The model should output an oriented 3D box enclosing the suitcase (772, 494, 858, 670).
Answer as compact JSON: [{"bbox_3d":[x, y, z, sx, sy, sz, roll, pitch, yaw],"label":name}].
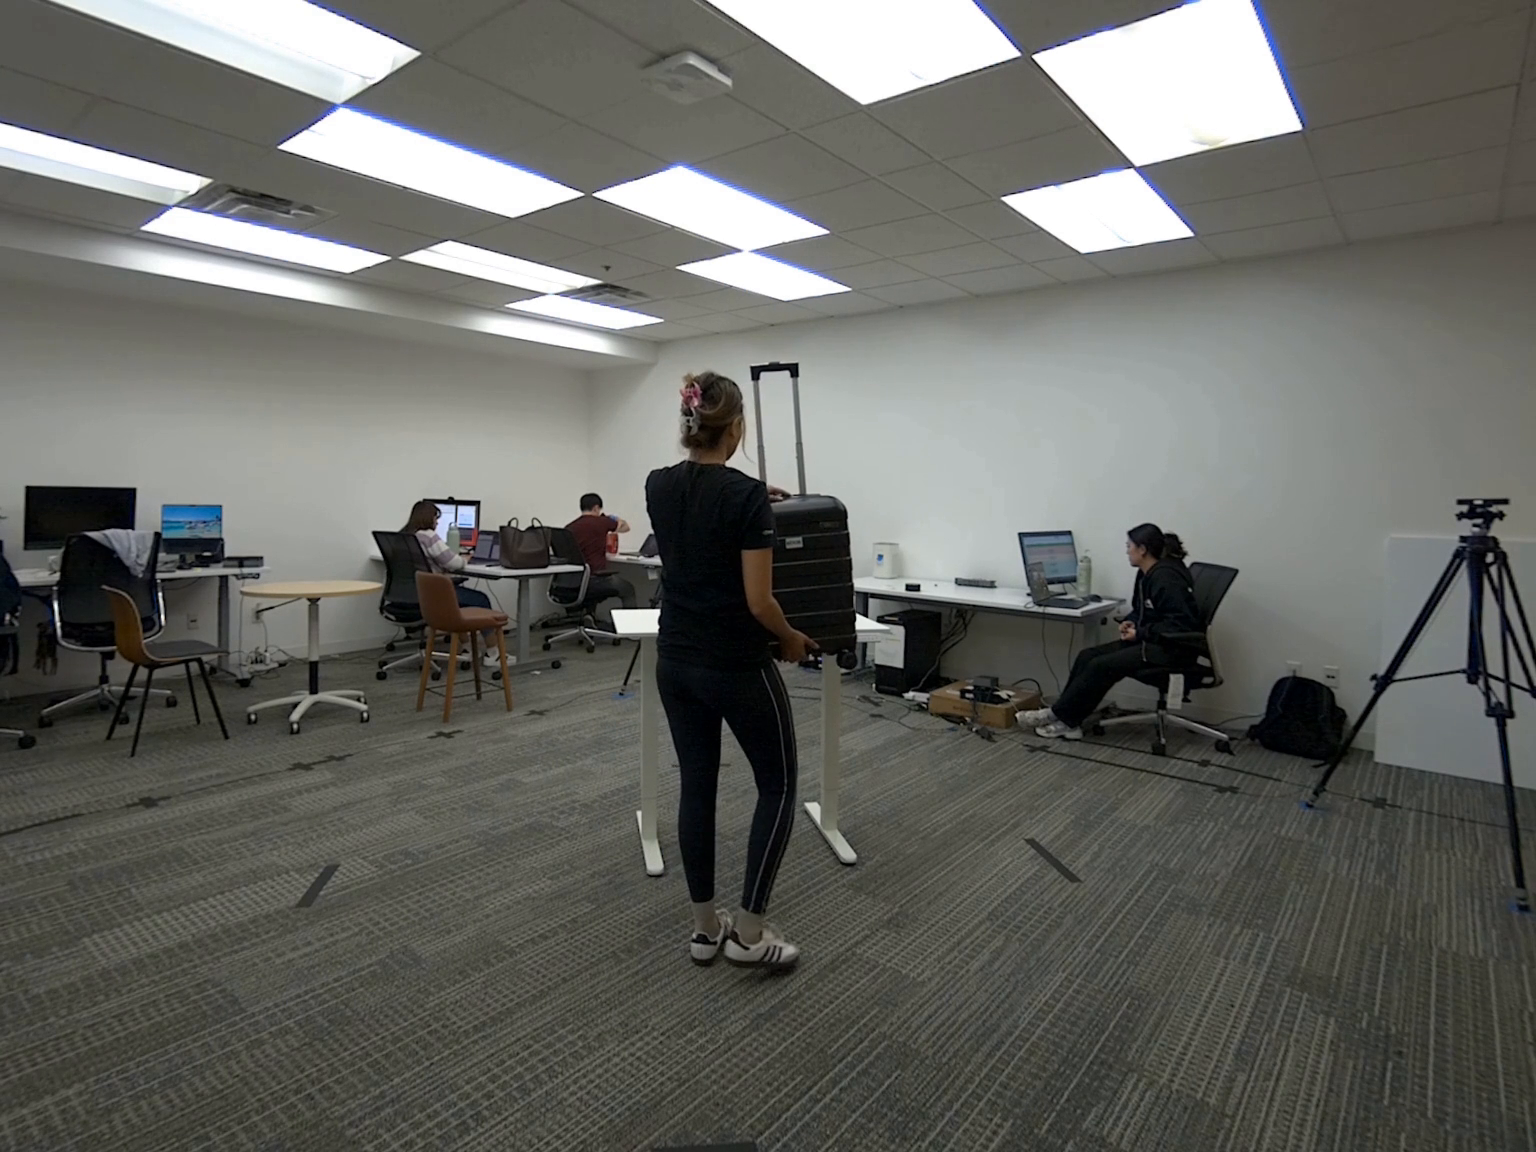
[{"bbox_3d":[0.070,-0.195,2.707,0.382,0.971,0.260,-4,7,-5],"label":"suitcase"}]
